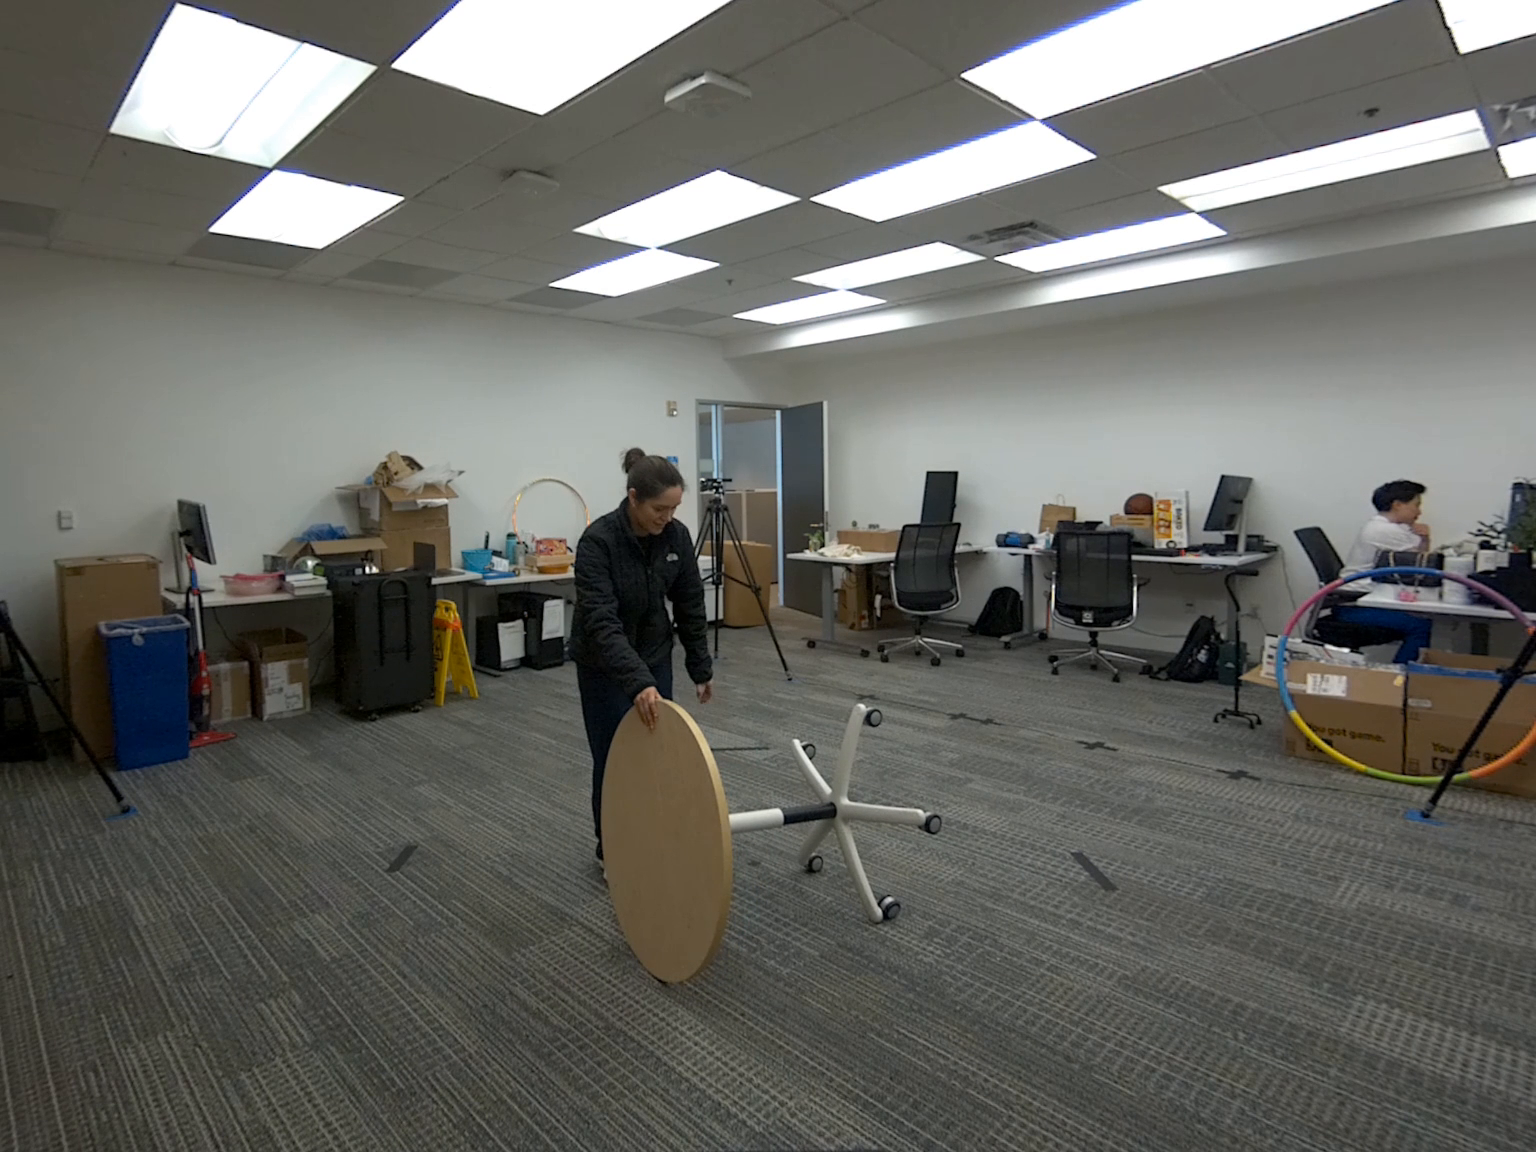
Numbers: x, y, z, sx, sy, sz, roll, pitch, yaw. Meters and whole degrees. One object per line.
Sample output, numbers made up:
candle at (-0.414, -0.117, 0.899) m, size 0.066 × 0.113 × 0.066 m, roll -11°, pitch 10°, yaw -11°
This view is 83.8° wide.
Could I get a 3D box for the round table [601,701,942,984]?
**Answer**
round table at (-0.005, 0.759, 2.677) m, size 0.764 × 0.785 × 0.808 m, roll 4°, pitch 1°, yaw -34°
